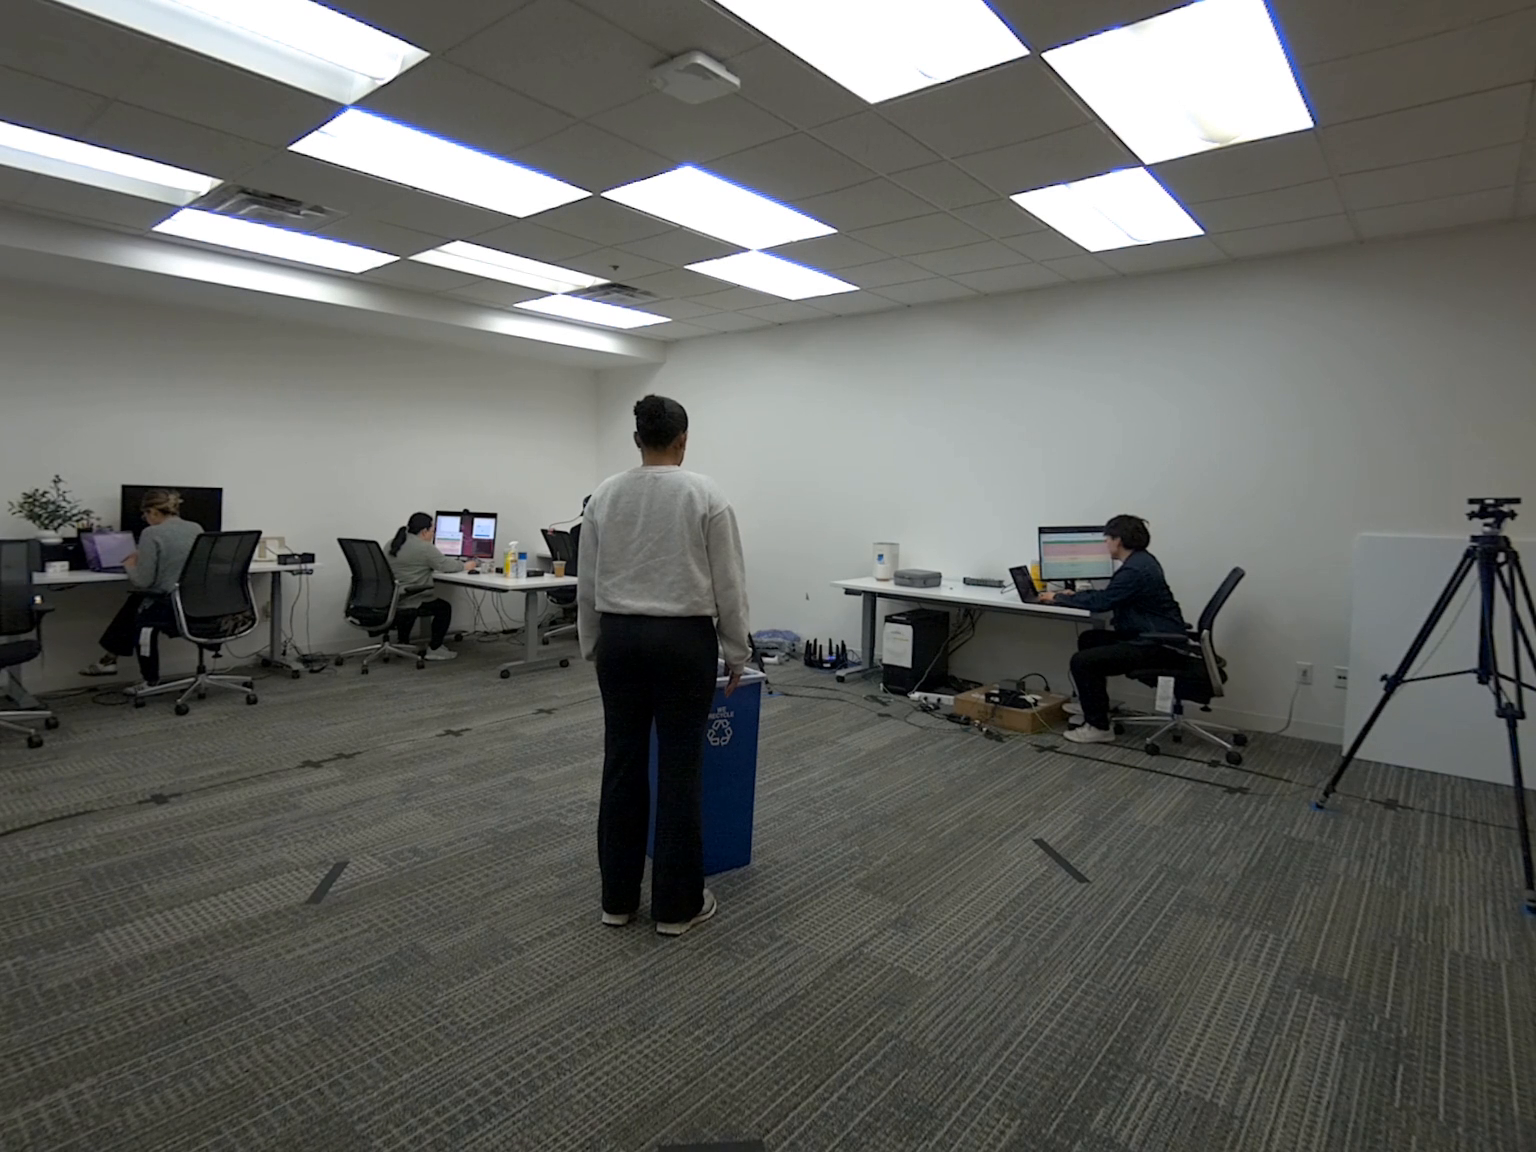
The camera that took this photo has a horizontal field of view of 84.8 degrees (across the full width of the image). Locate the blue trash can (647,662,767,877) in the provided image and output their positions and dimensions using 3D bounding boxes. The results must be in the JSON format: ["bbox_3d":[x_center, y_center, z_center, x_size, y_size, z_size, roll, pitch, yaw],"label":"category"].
[{"bbox_3d":[-0.258,0.702,3.175,0.367,0.712,0.386,0,3,-38],"label":"blue trash can"}]
